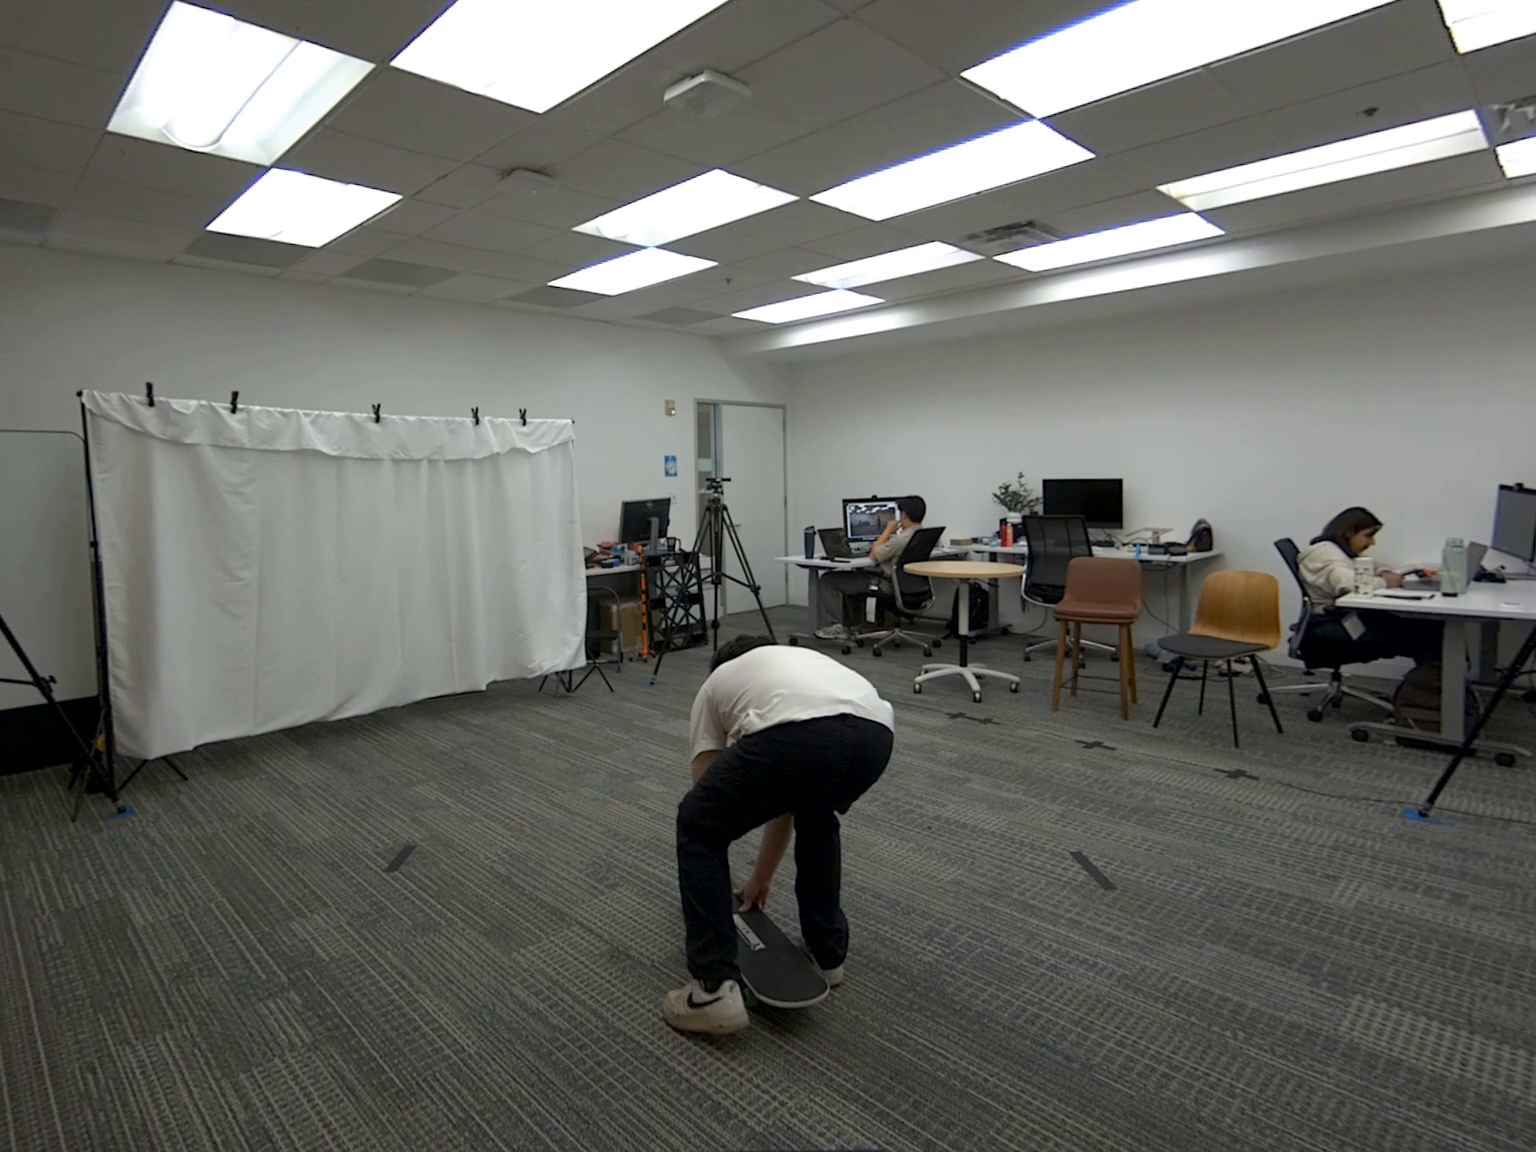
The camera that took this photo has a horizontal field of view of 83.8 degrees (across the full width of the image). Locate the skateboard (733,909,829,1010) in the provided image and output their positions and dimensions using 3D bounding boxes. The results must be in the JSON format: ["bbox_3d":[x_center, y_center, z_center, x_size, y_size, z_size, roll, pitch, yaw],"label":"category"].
[{"bbox_3d":[-0.055,1.068,2.478,0.190,0.110,0.805,-4,7,-24],"label":"skateboard"}]
